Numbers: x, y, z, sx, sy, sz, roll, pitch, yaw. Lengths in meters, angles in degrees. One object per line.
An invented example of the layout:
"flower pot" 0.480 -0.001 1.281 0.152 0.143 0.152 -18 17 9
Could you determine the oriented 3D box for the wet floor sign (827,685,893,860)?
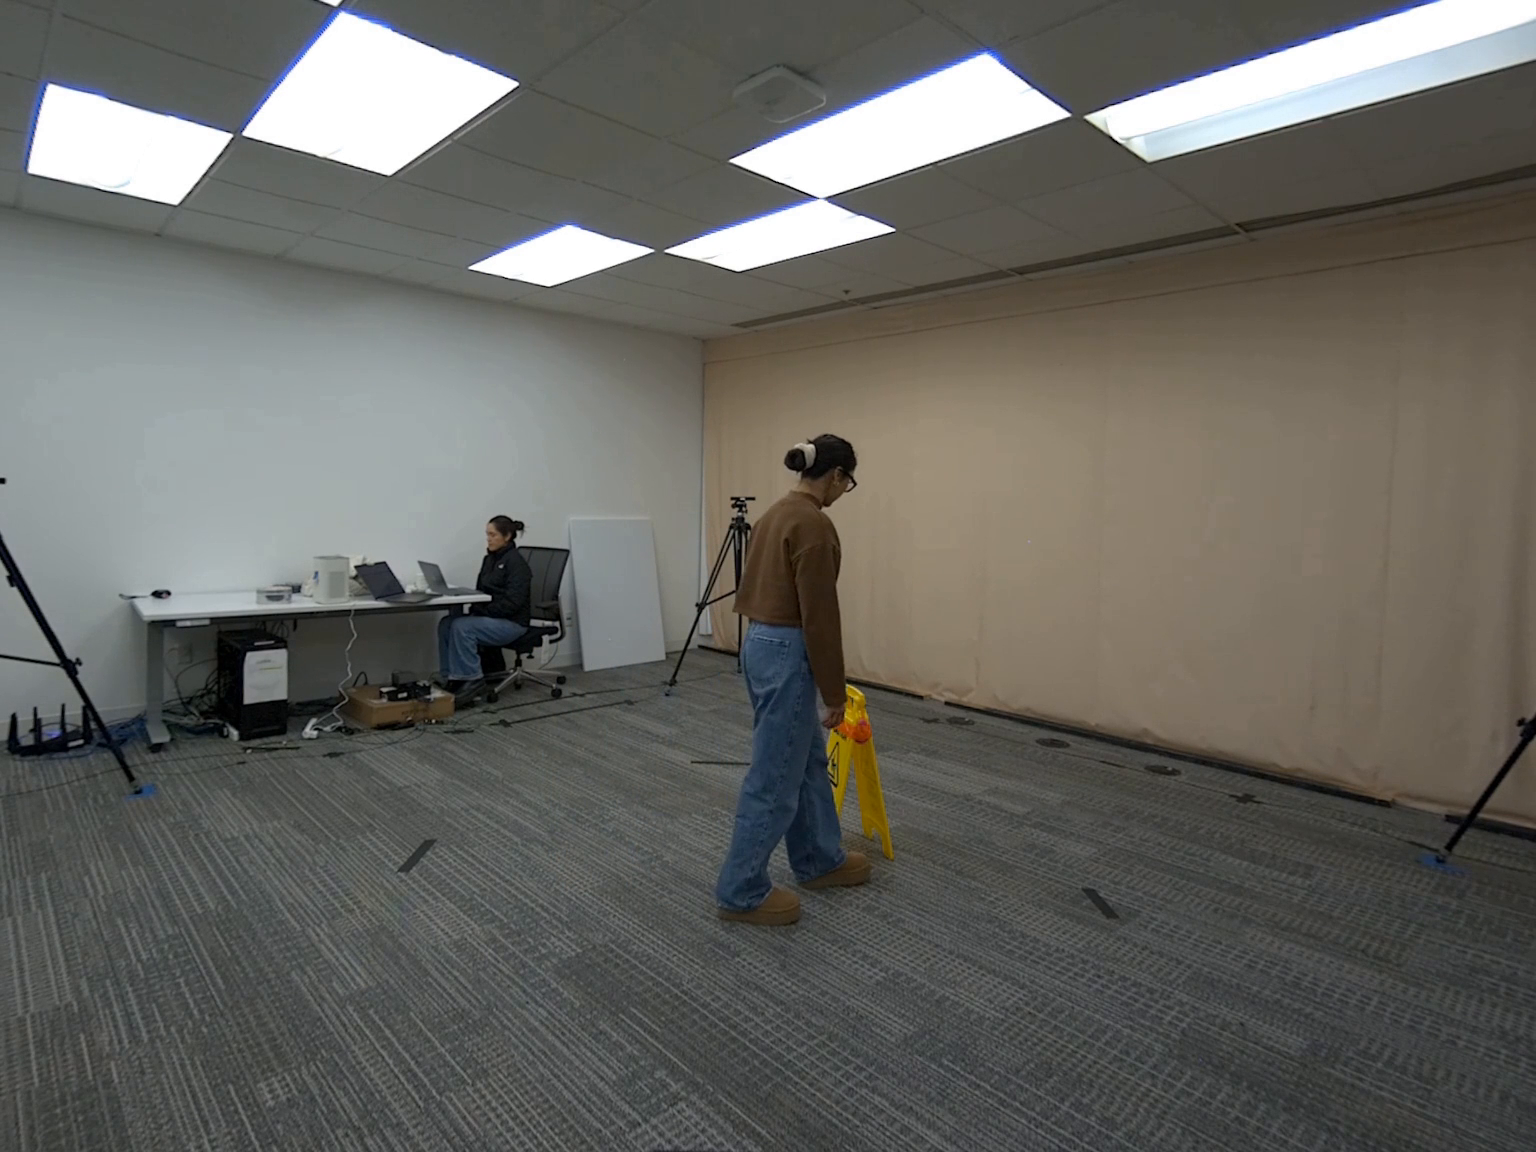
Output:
"wet floor sign" 0.324 0.769 3.363 0.286 0.644 0.286 1 4 -14
